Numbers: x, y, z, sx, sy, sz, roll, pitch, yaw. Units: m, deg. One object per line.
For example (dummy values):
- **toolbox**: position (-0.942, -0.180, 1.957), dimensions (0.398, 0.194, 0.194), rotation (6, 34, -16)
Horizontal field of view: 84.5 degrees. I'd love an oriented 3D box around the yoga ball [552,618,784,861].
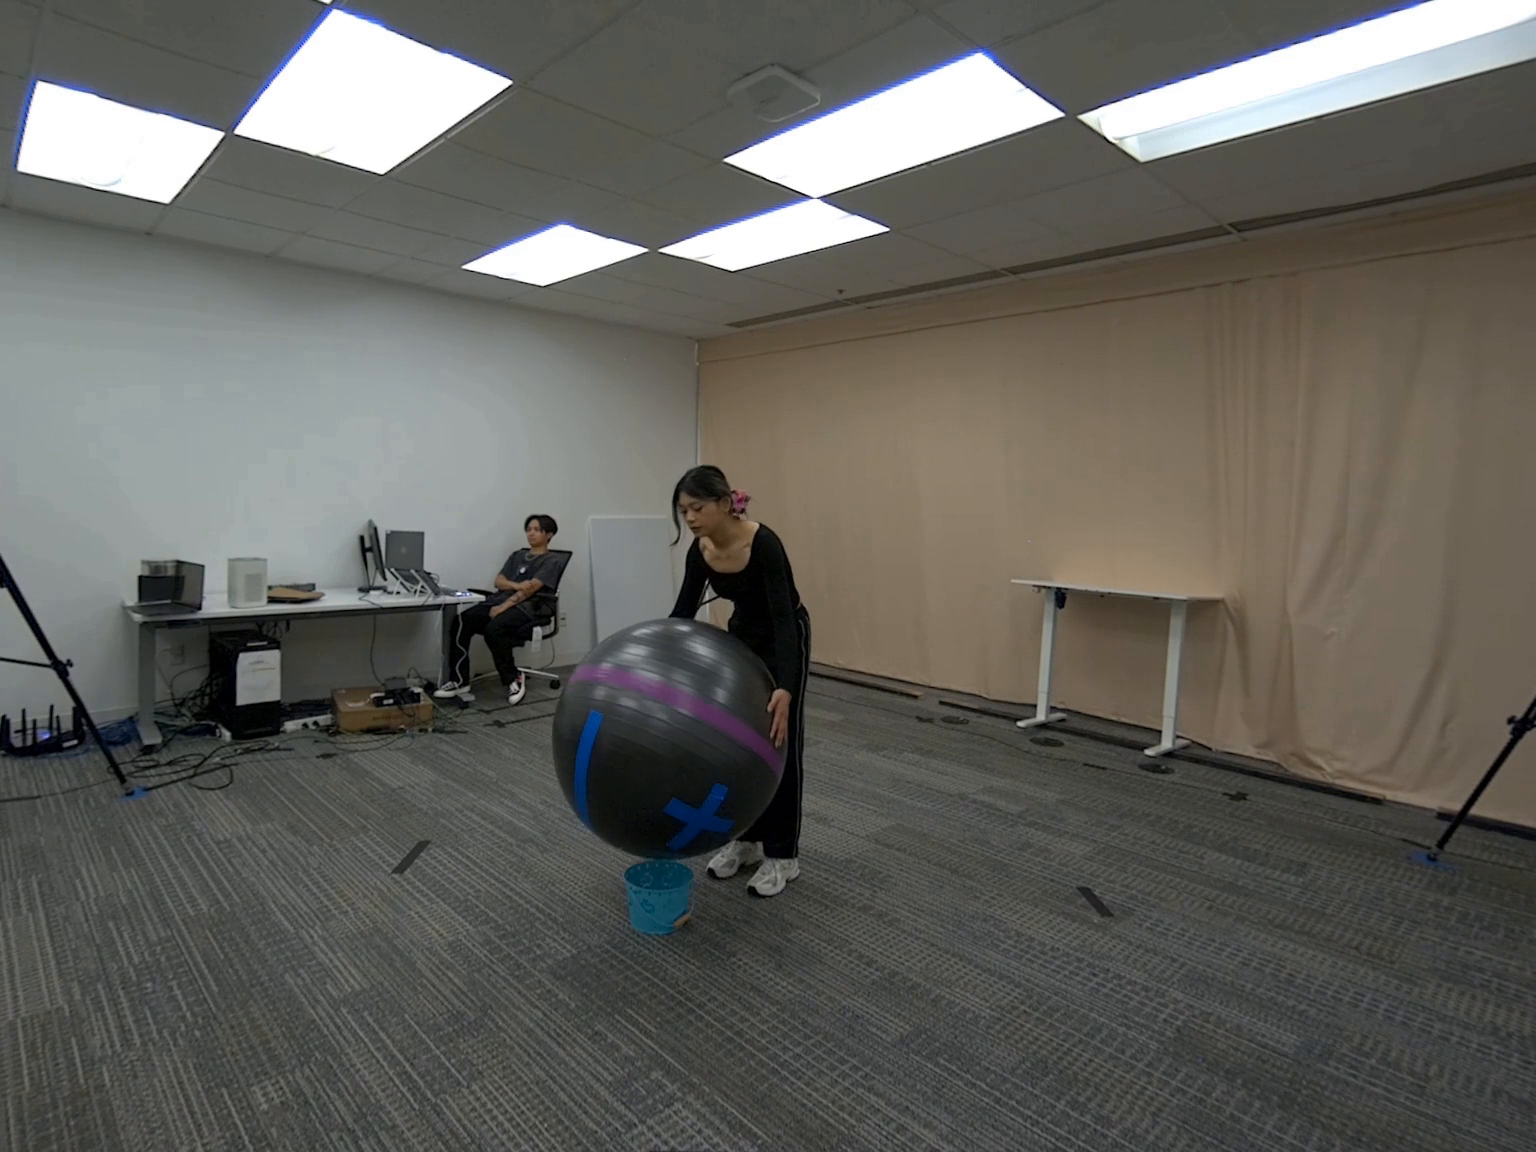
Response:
- **yoga ball**: position (-0.319, 0.519, 2.718), dimensions (0.757, 0.756, 0.761), rotation (1, 4, -1)
